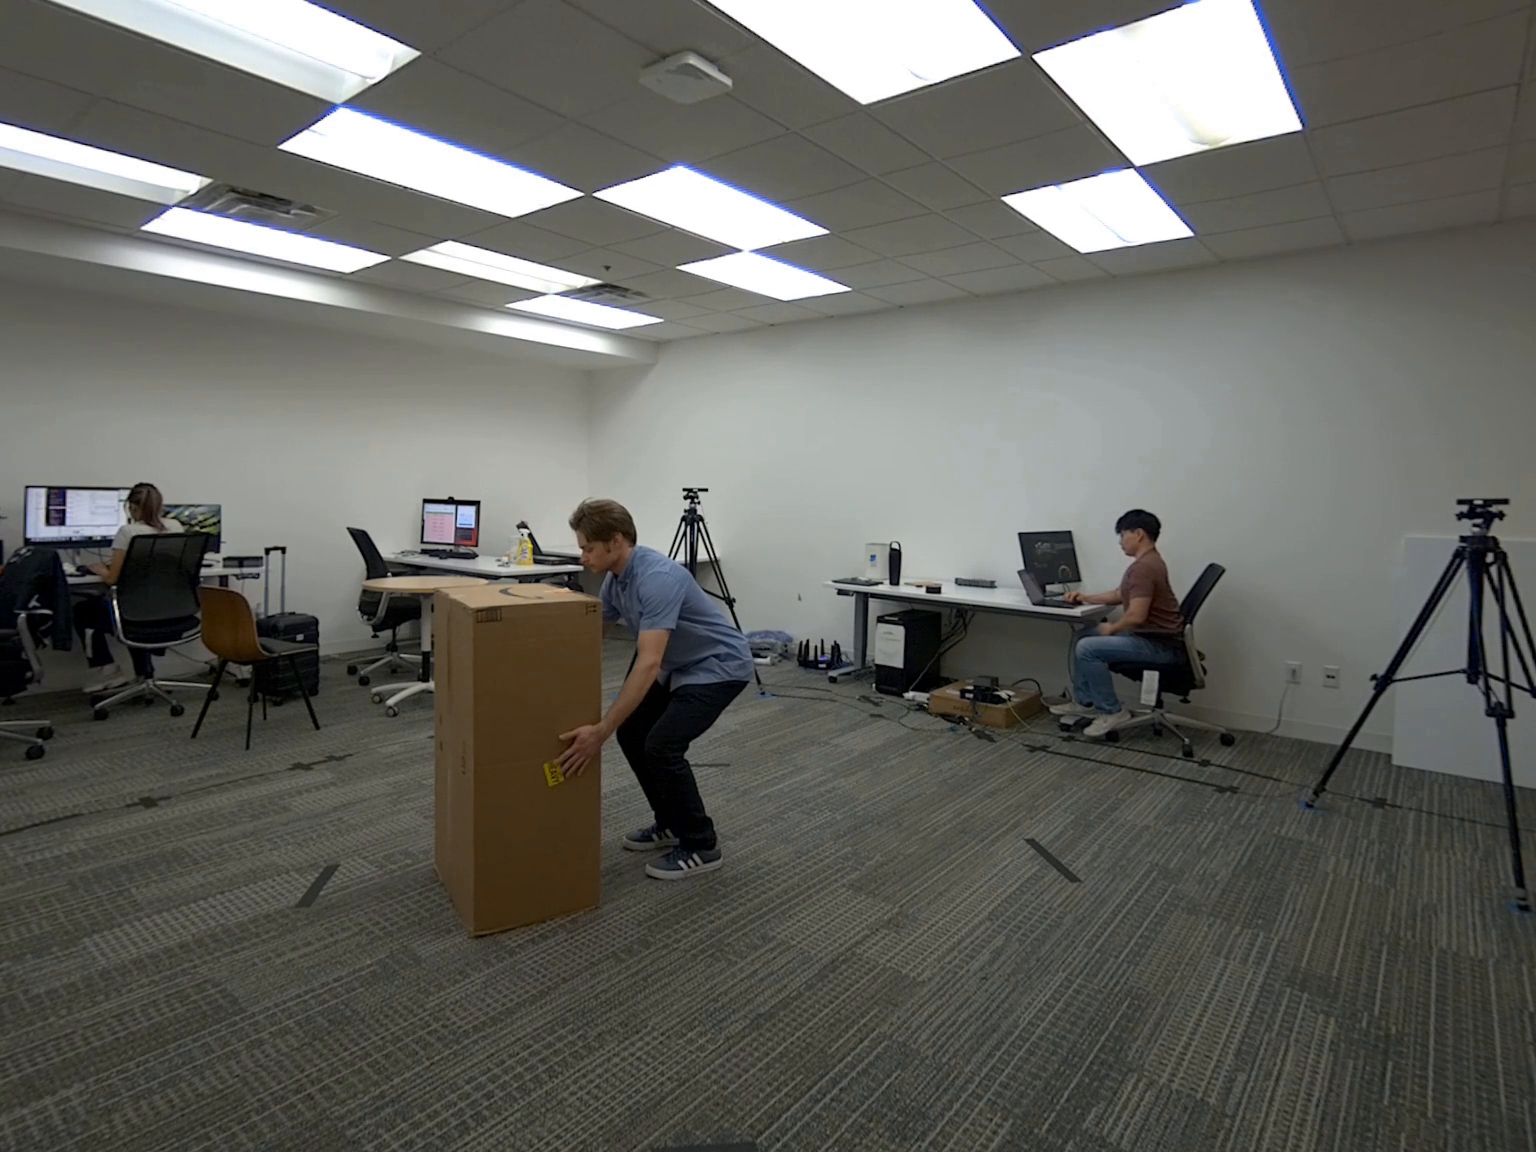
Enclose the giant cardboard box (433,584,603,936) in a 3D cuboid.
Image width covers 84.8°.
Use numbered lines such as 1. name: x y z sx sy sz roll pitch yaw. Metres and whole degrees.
1. giant cardboard box: -0.885 0.568 2.927 0.414 1.023 0.595 -1 4 -32
